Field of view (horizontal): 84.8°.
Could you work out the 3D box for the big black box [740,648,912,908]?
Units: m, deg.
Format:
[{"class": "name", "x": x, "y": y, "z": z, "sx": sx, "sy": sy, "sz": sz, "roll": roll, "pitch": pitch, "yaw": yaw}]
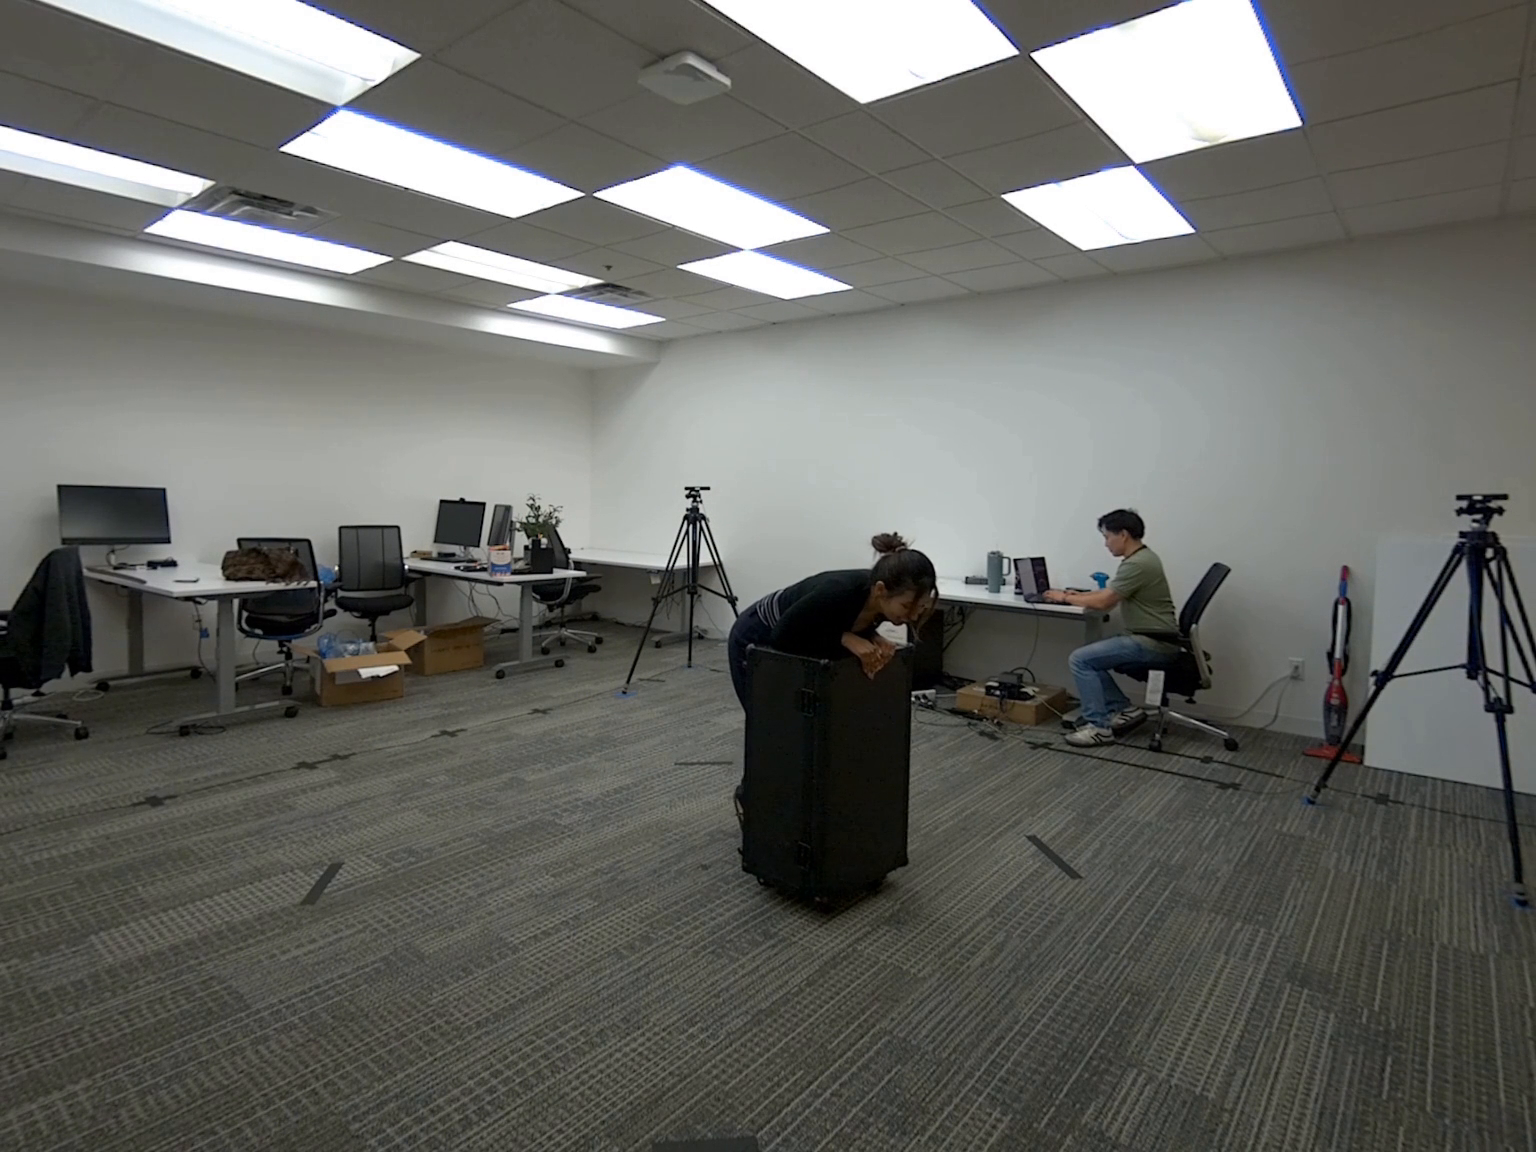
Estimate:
[{"class": "big black box", "x": 0.192, "y": 0.662, "z": 2.957, "sx": 0.505, "sy": 0.859, "sz": 0.410, "roll": -3, "pitch": 5, "yaw": -44}]
